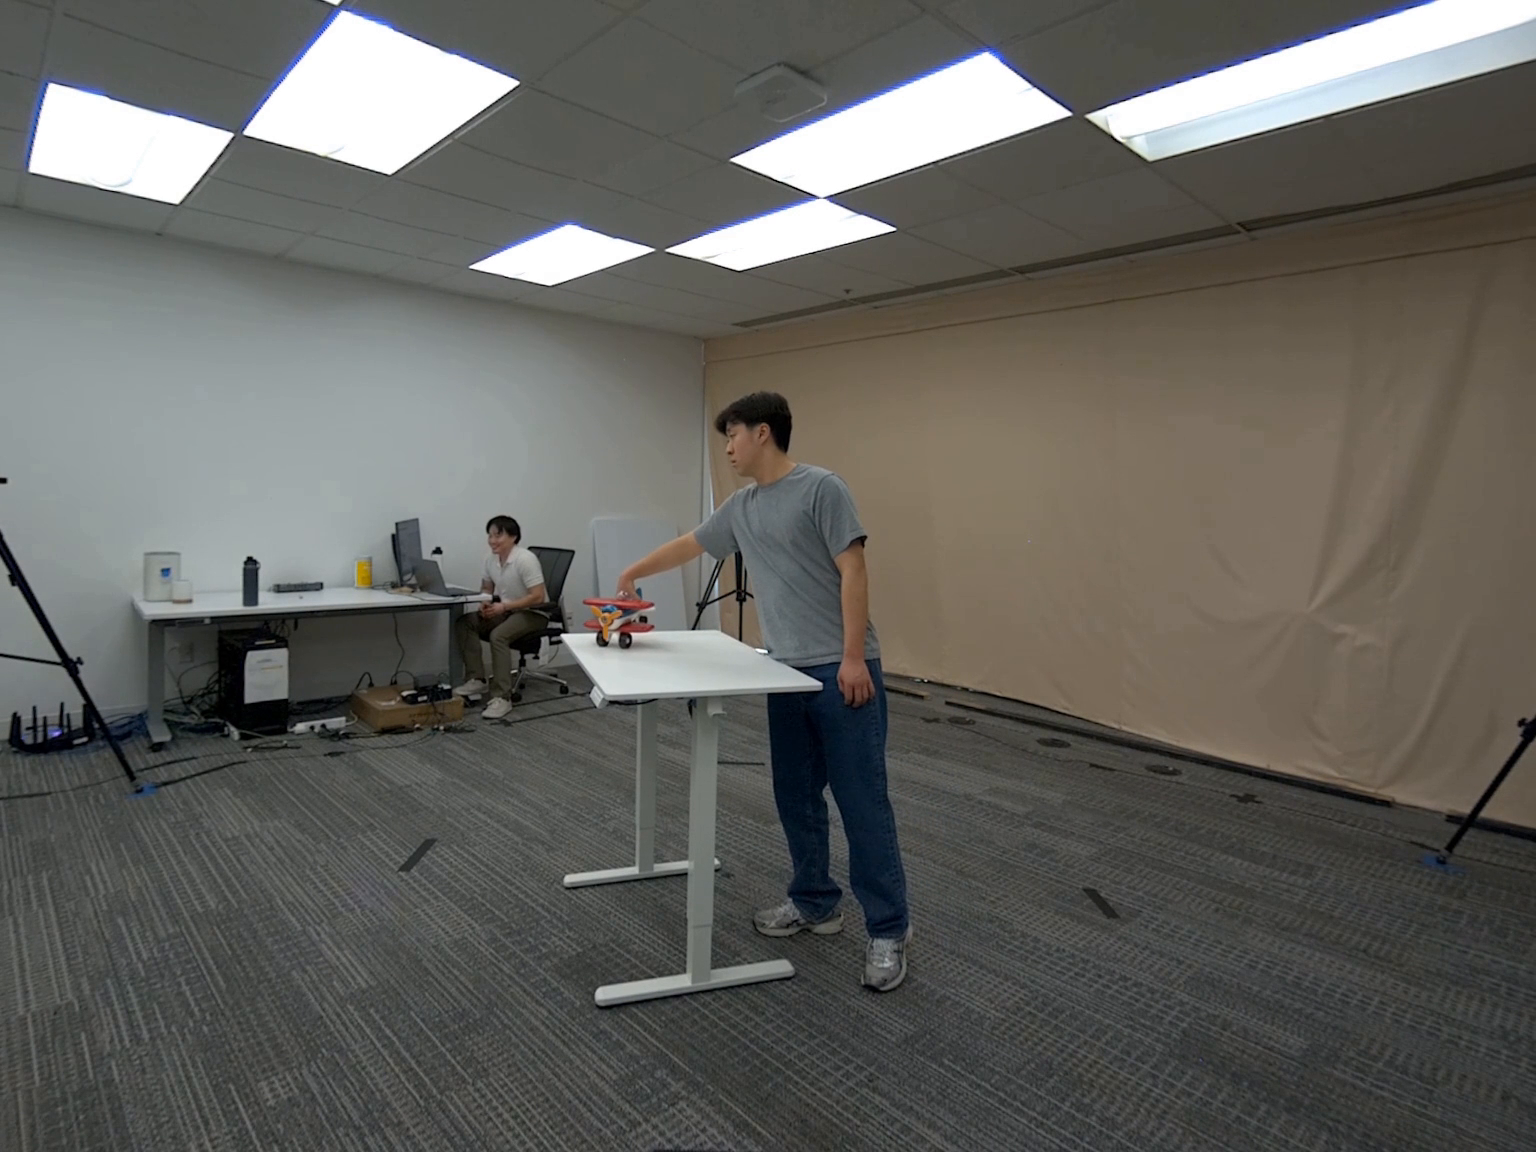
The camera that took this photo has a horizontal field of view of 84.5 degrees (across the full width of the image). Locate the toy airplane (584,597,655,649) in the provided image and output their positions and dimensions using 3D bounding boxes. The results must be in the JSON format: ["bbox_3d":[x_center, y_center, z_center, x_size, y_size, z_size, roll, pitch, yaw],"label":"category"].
[{"bbox_3d":[-0.509,0.137,2.883,0.250,0.154,0.264,-7,22,-6],"label":"toy airplane"}]
